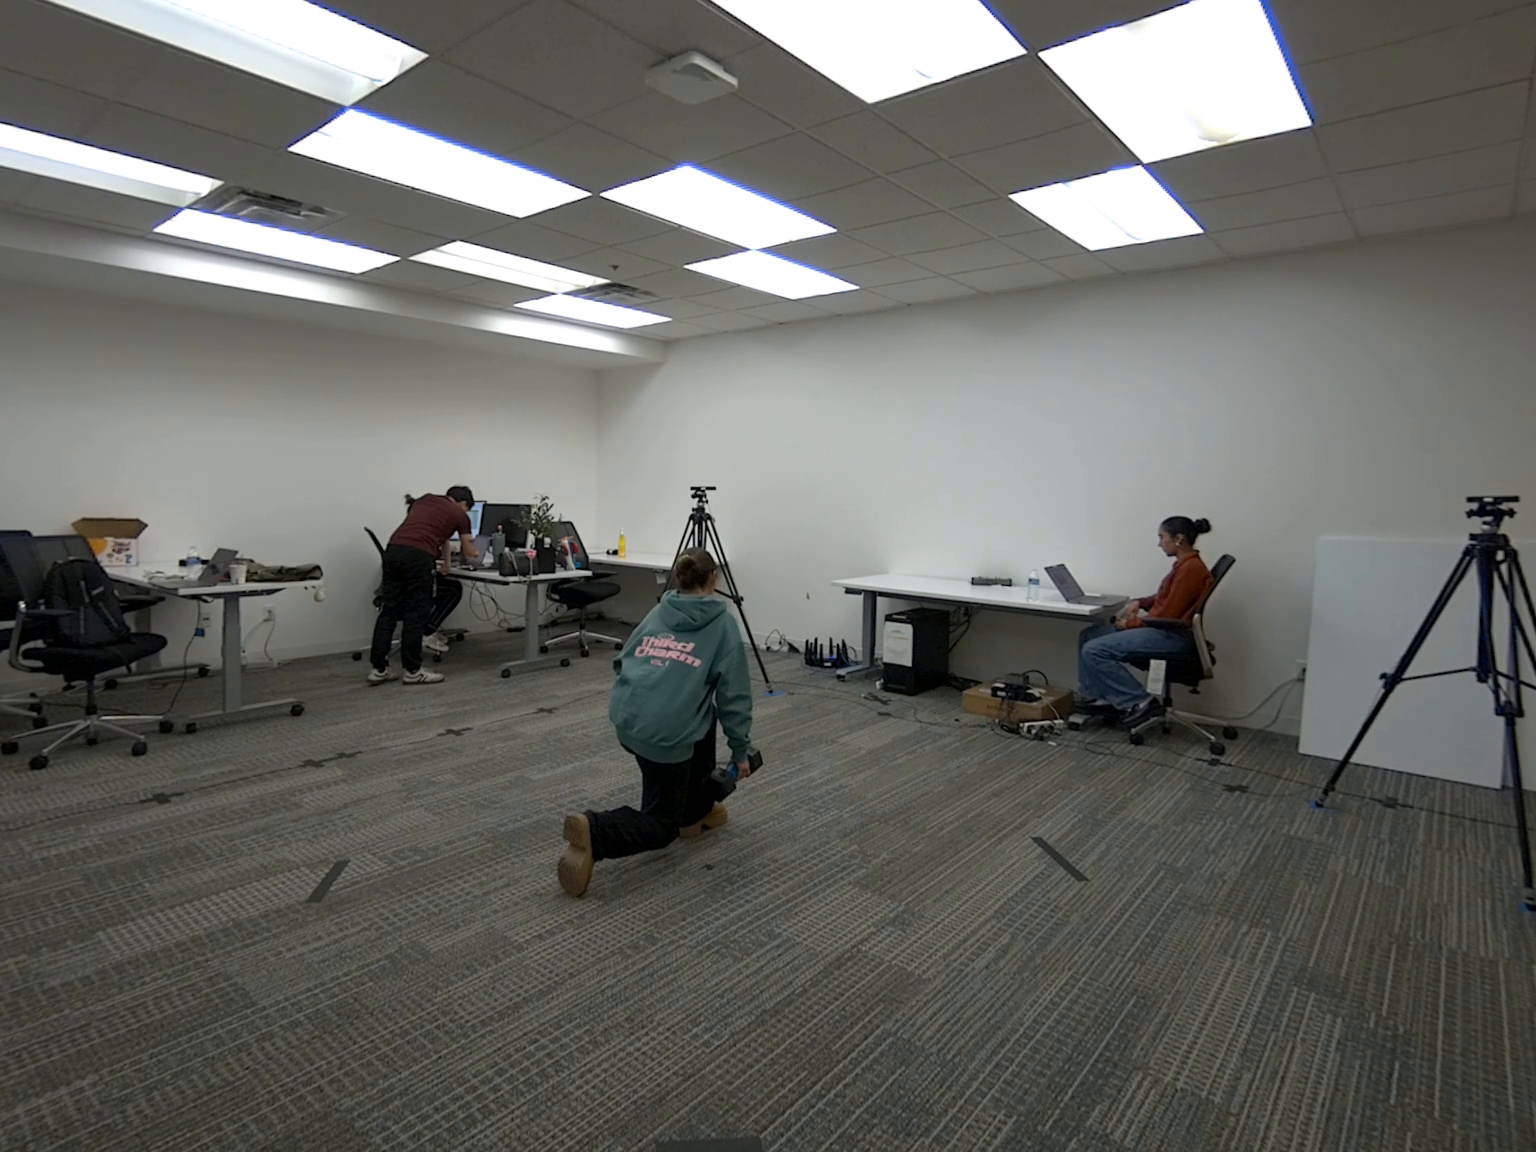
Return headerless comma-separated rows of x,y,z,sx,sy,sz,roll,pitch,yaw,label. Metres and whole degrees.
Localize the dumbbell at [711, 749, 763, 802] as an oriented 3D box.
-0.144,0.758,3.332,0.123,0.110,0.289,-46,-9,33,dumbbell
